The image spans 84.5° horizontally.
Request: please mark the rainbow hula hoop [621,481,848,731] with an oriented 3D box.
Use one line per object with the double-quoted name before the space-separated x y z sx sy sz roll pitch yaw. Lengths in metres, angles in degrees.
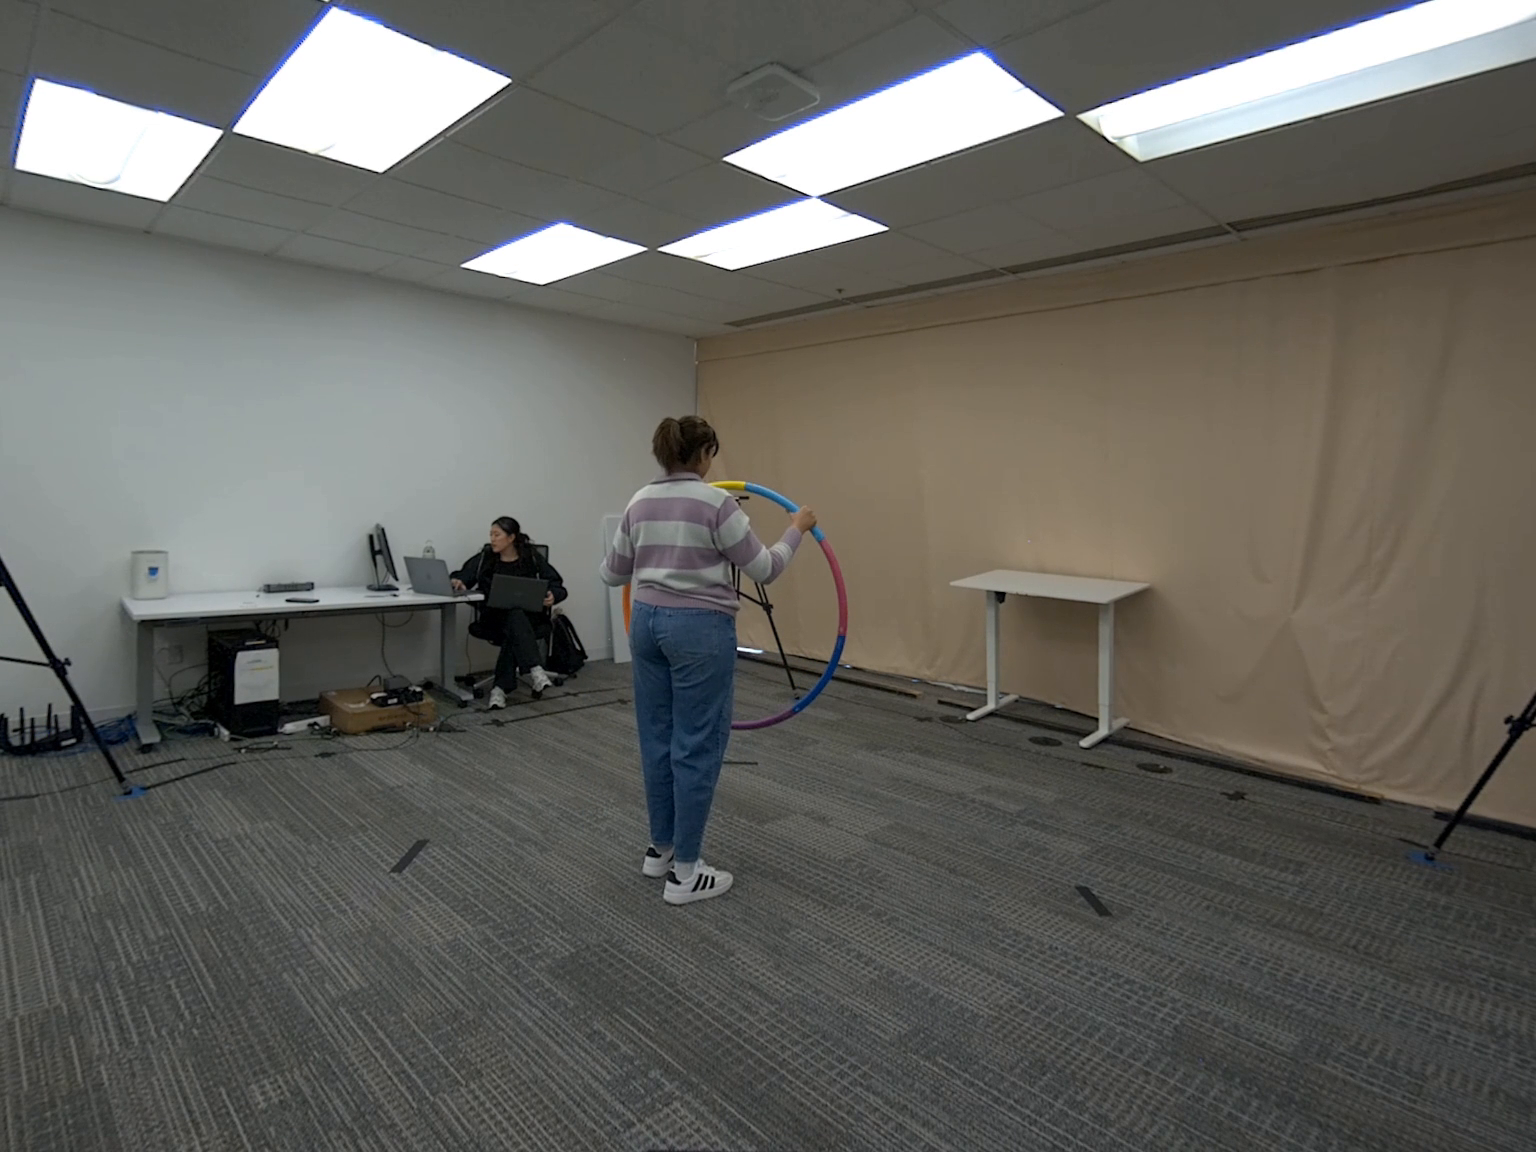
"rainbow hula hoop" -0.163 0.124 3.337 0.997 0.975 0.035 3 5 25
